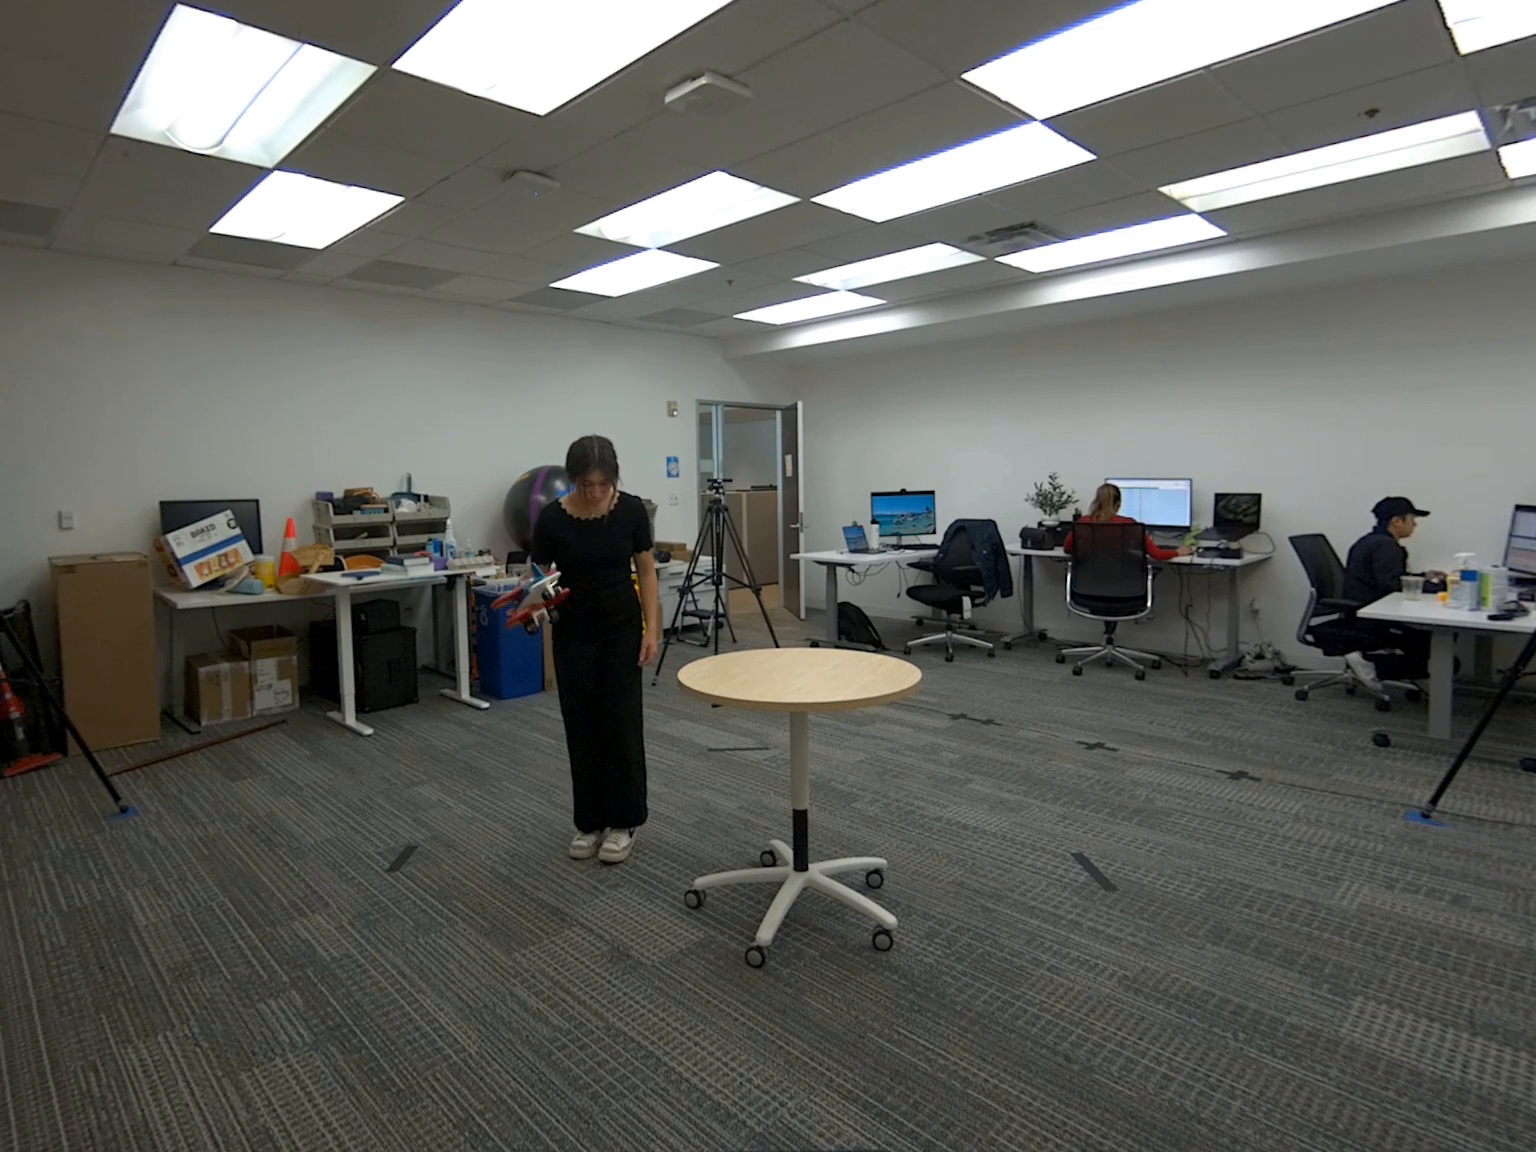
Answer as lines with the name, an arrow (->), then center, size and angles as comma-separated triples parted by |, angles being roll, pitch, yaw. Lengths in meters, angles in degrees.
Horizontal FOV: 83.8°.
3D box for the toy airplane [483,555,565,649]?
toy airplane -> -0.745, 0.071, 2.830 | 0.160, 0.259, 0.246 | 45, 21, 15
